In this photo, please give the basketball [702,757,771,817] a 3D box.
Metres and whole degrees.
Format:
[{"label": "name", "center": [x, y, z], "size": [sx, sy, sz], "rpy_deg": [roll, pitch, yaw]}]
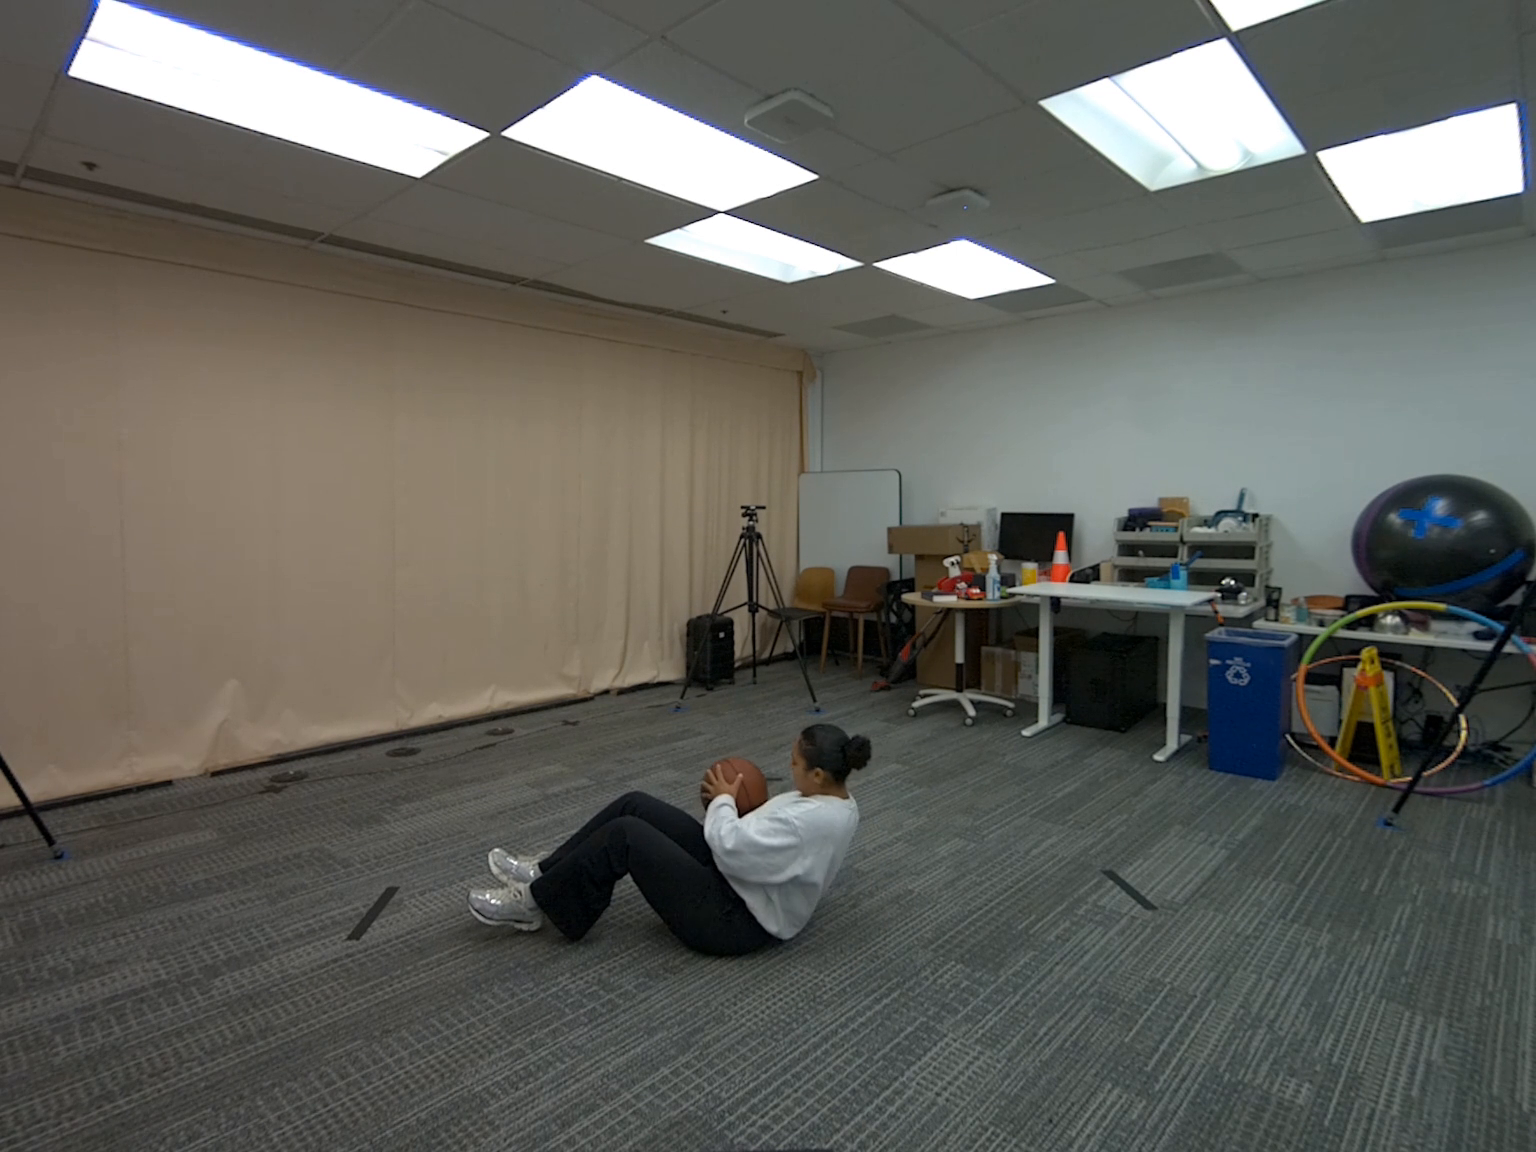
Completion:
[{"label": "basketball", "center": [-0.111, 0.763, 2.947], "size": [0.236, 0.235, 0.237], "rpy_deg": [0, 4, -2]}]
